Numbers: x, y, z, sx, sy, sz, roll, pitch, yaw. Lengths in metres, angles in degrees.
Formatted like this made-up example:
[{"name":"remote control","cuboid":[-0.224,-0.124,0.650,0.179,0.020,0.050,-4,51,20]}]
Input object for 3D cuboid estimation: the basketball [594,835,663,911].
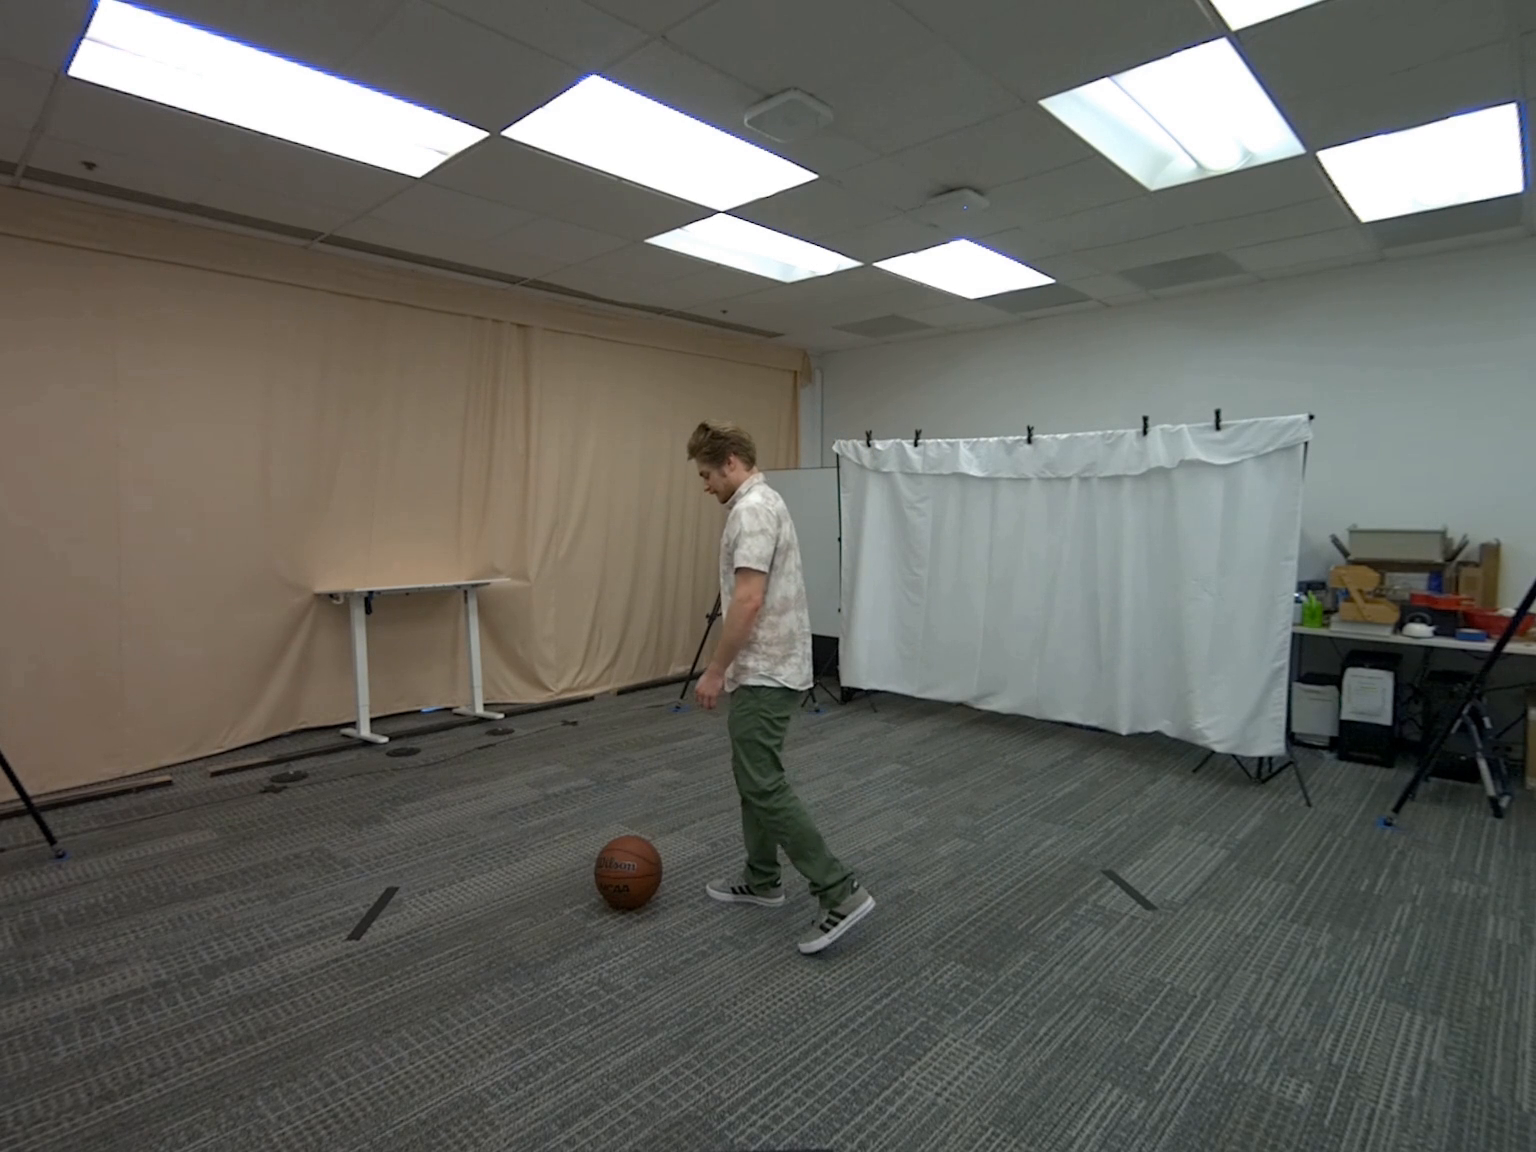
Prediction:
[{"name":"basketball","cuboid":[-0.488,1.031,2.943,0.236,0.235,0.237,0,4,-2]}]
